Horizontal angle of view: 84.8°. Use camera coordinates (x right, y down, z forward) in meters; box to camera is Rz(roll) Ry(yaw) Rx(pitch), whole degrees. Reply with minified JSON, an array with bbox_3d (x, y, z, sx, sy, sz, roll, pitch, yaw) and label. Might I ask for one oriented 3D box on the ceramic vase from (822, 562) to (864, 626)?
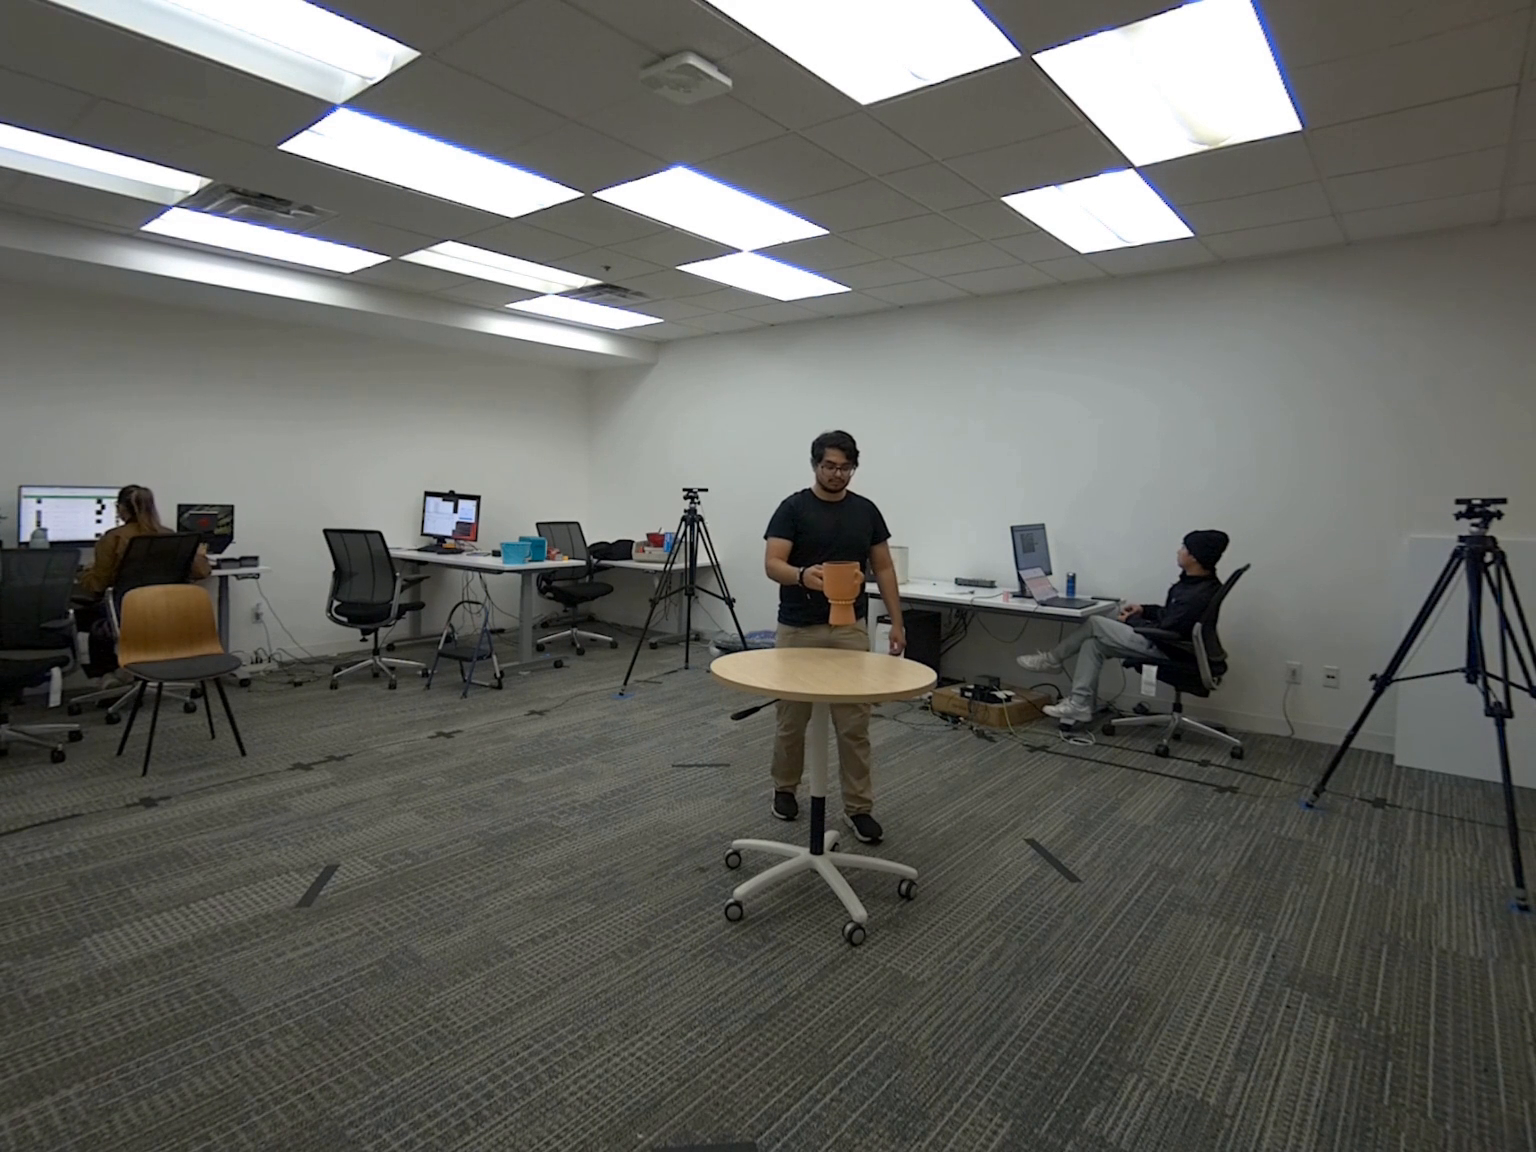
[{"bbox_3d":[0.260,0.059,3.111,0.133,0.219,0.161,-2,4,-10],"label":"ceramic vase"}]
